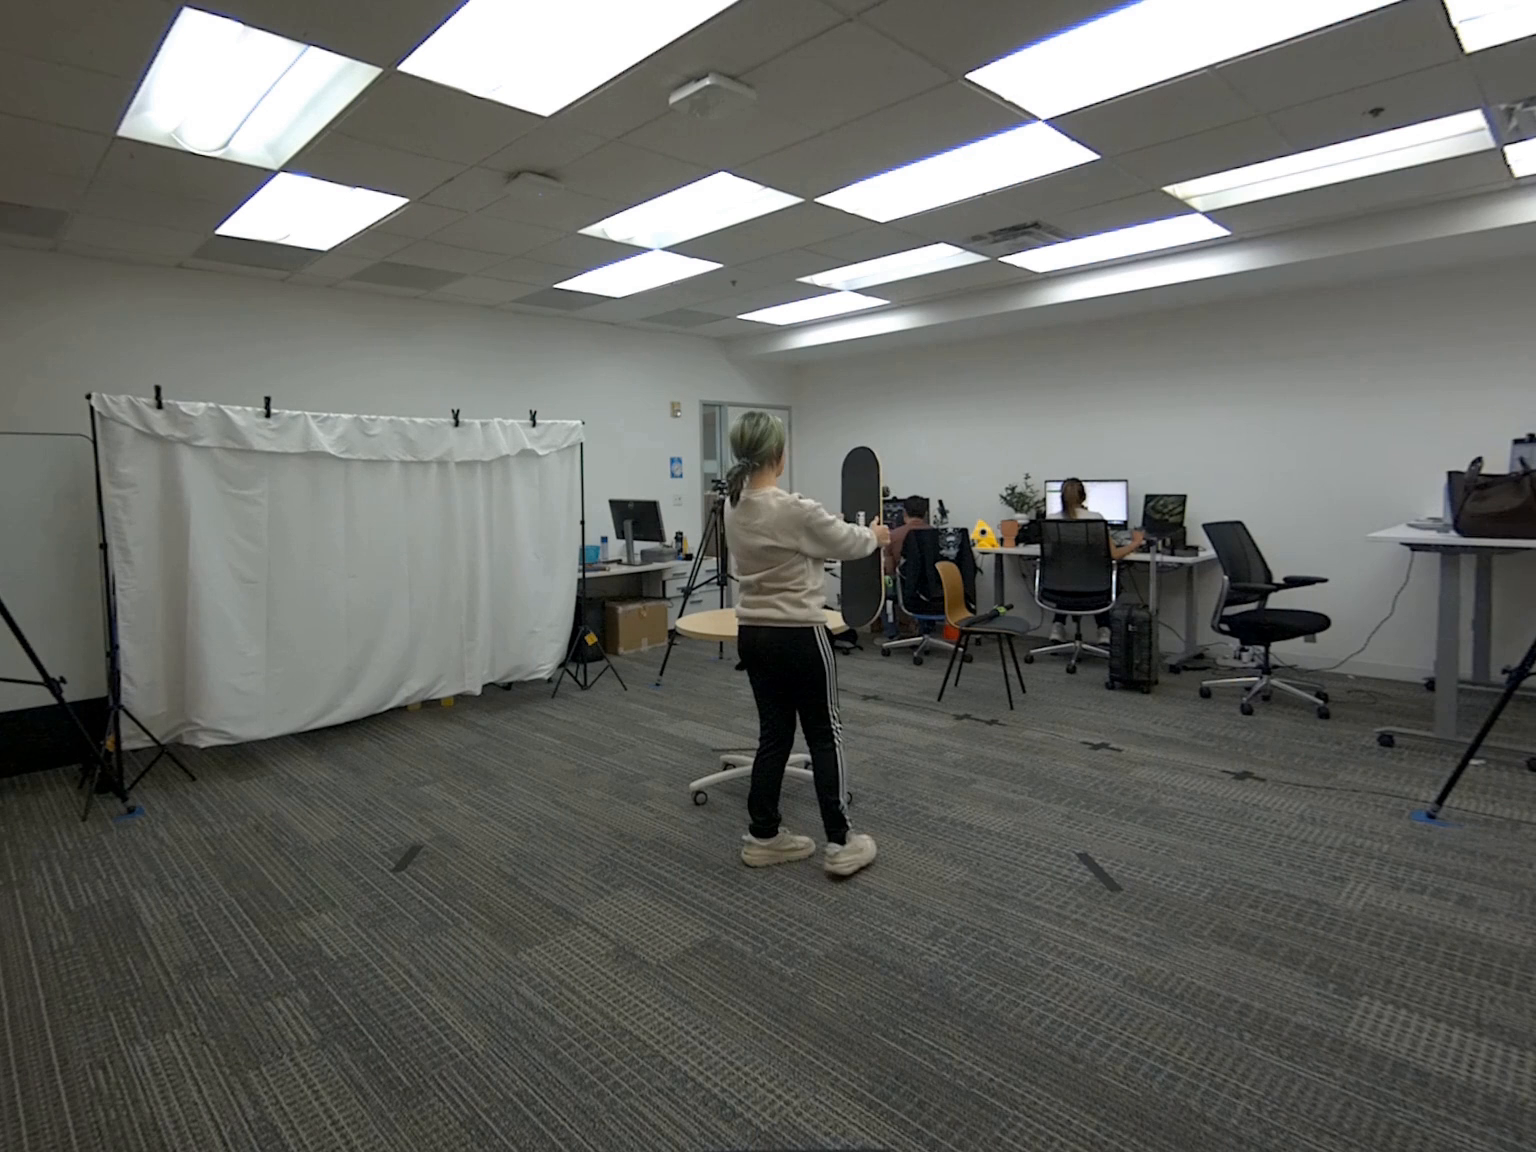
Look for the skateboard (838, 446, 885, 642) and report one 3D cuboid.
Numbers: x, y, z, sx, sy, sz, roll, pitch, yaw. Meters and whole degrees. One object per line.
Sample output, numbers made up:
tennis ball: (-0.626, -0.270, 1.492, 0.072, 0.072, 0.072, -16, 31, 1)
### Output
skateboard: (0.390, -0.152, 3.444, 0.197, 0.800, 0.106, -16, -29, 37)
